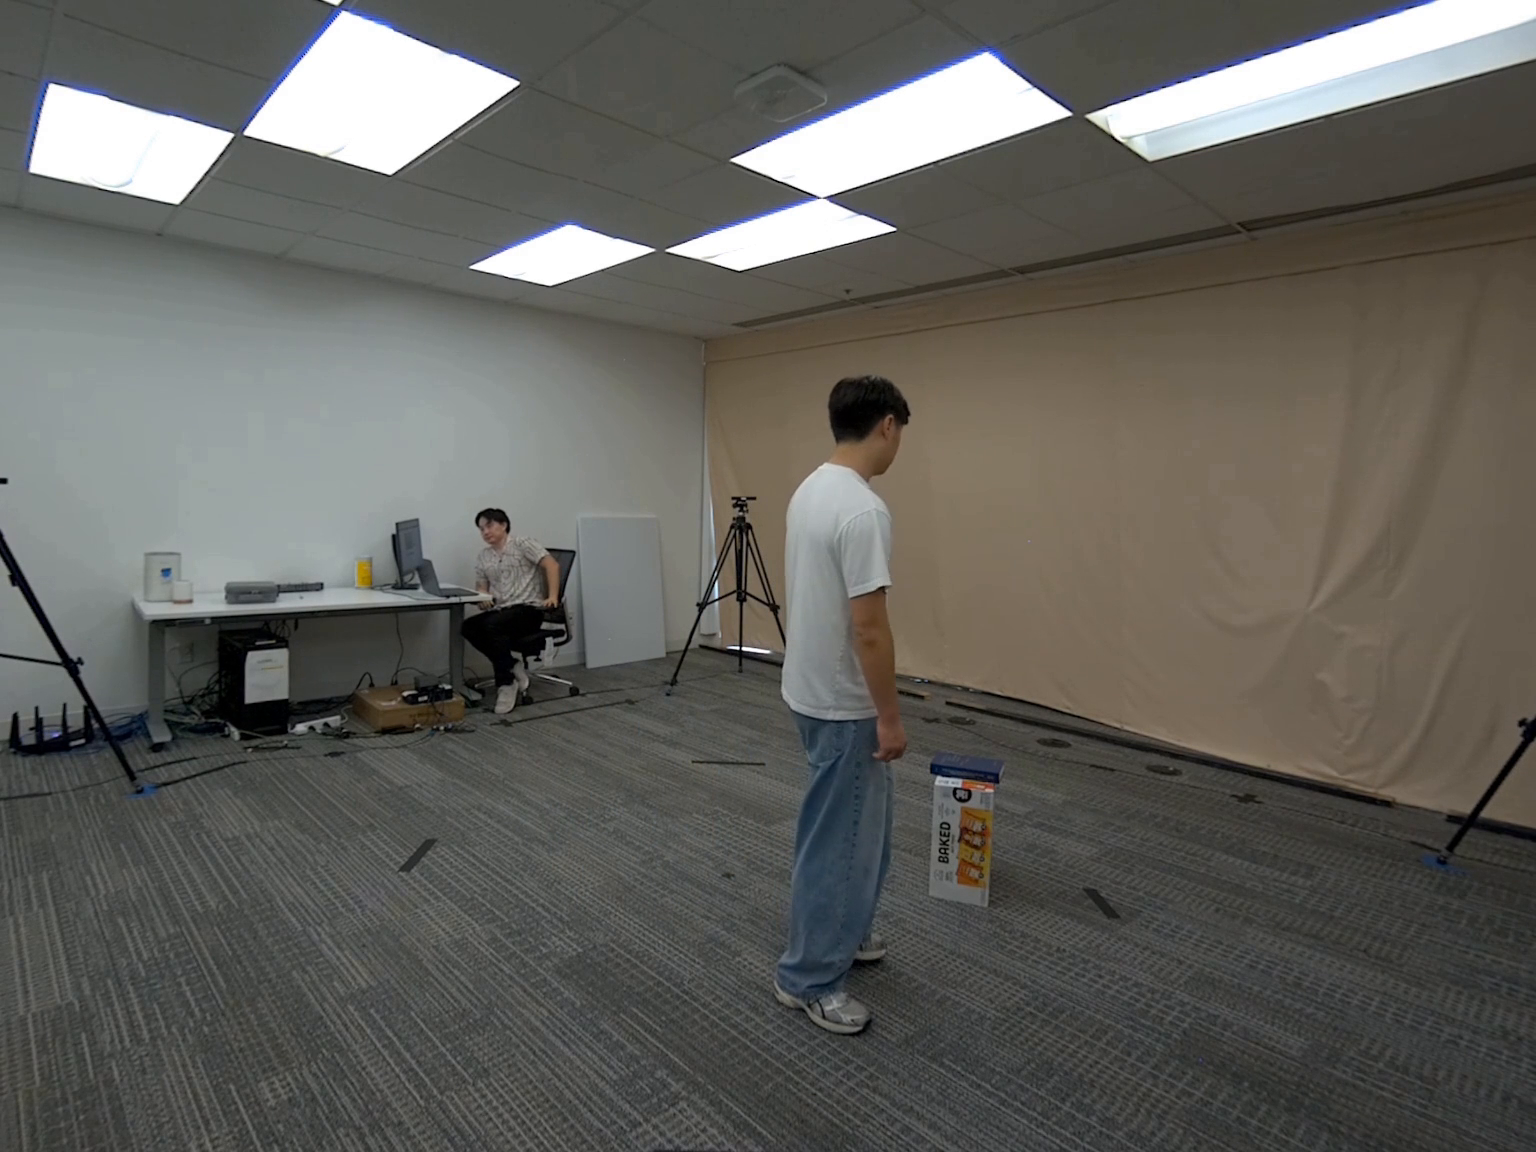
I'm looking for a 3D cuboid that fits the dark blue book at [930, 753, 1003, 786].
[{"bbox_3d":[0.731,0.706,3.096,0.249,0.045,0.161,3,5,23],"label":"dark blue book"}]
